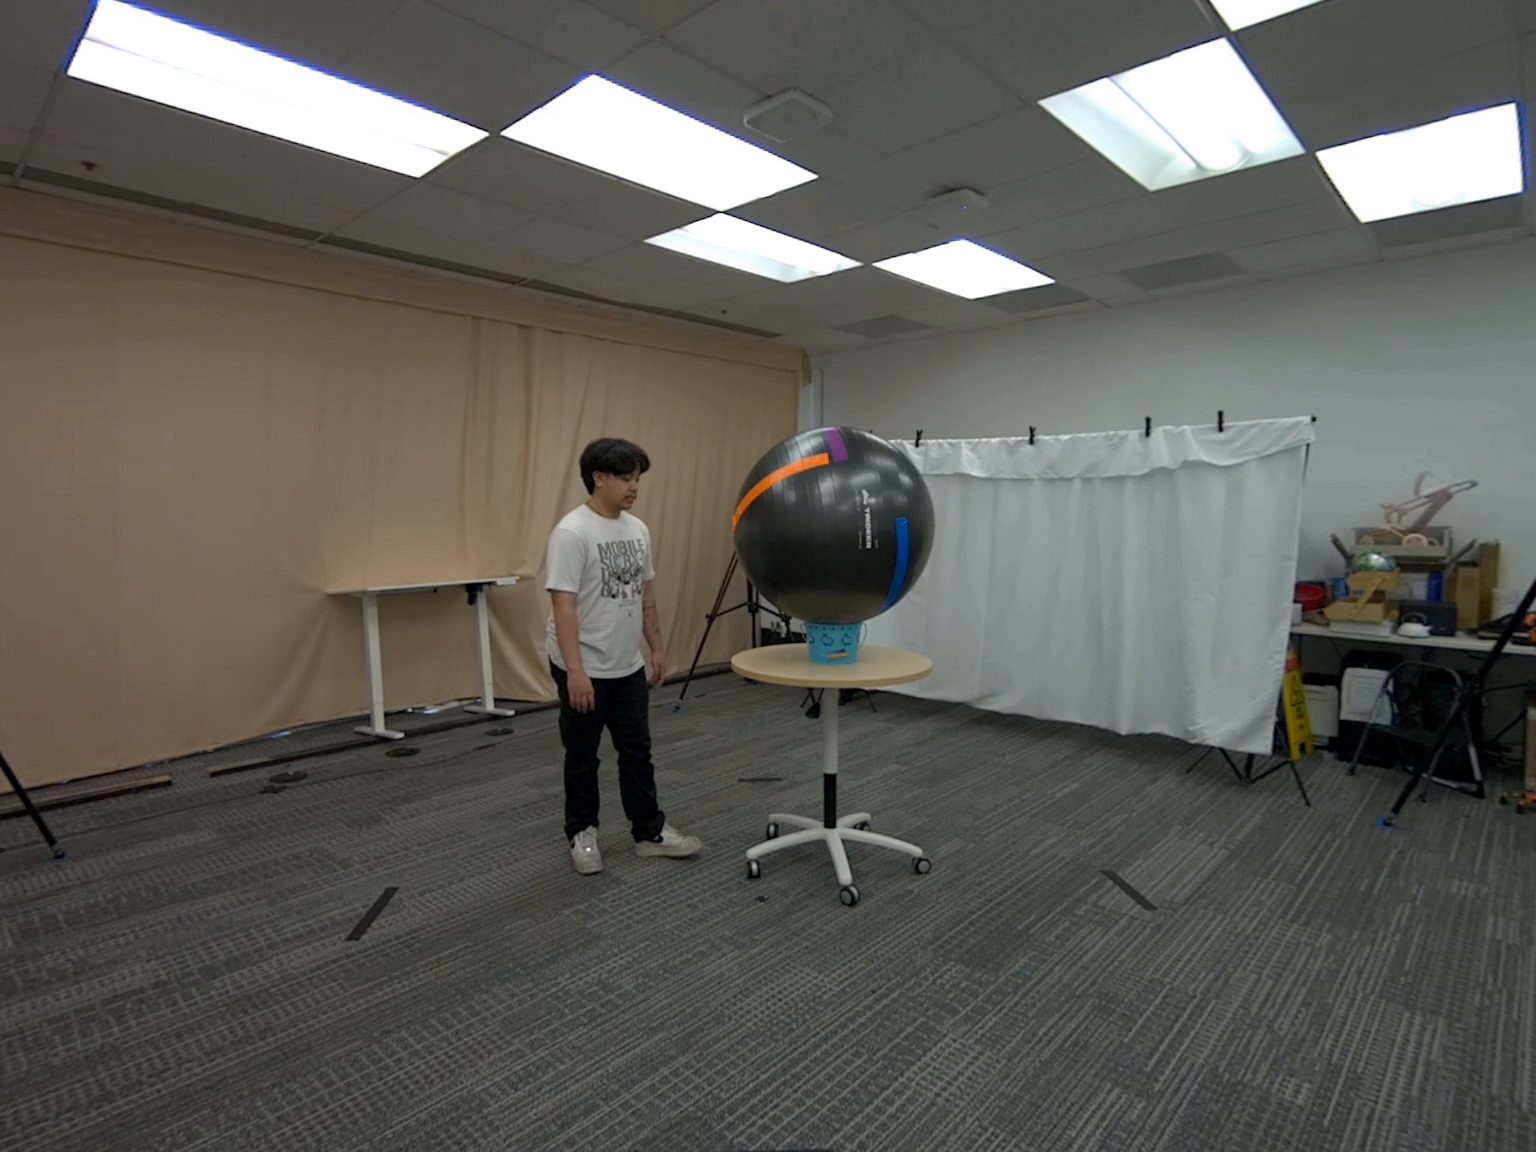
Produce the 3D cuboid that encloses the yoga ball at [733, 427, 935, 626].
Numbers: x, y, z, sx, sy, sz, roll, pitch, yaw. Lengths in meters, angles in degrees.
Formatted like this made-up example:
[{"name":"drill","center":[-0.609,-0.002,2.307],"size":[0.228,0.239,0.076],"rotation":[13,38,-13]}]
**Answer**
[{"name":"yoga ball","center":[0.252,-0.181,3.220],"size":[0.757,0.756,0.760],"rotation":[0,4,-2]}]
